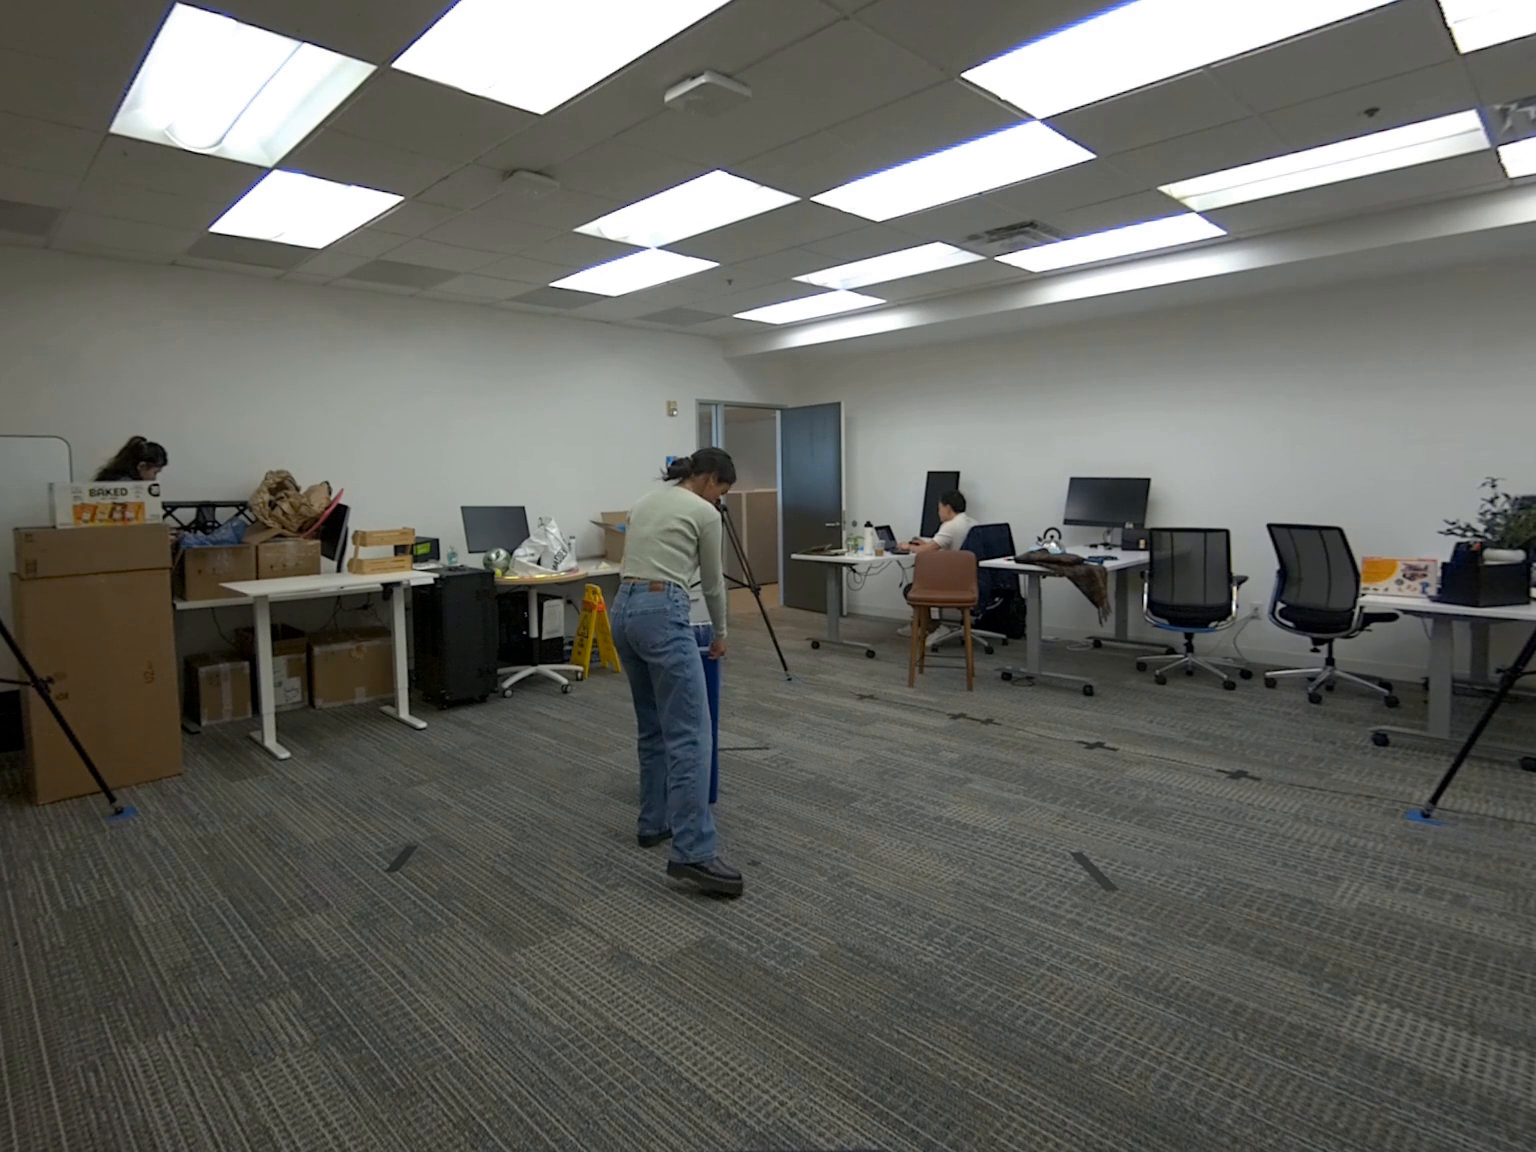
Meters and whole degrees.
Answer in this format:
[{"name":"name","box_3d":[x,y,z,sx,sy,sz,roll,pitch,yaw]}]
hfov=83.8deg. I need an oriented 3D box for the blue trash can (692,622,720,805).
[{"name":"blue trash can","box_3d":[-0.368,0.604,3.750,0.377,0.706,0.379,-2,11,-3]}]
